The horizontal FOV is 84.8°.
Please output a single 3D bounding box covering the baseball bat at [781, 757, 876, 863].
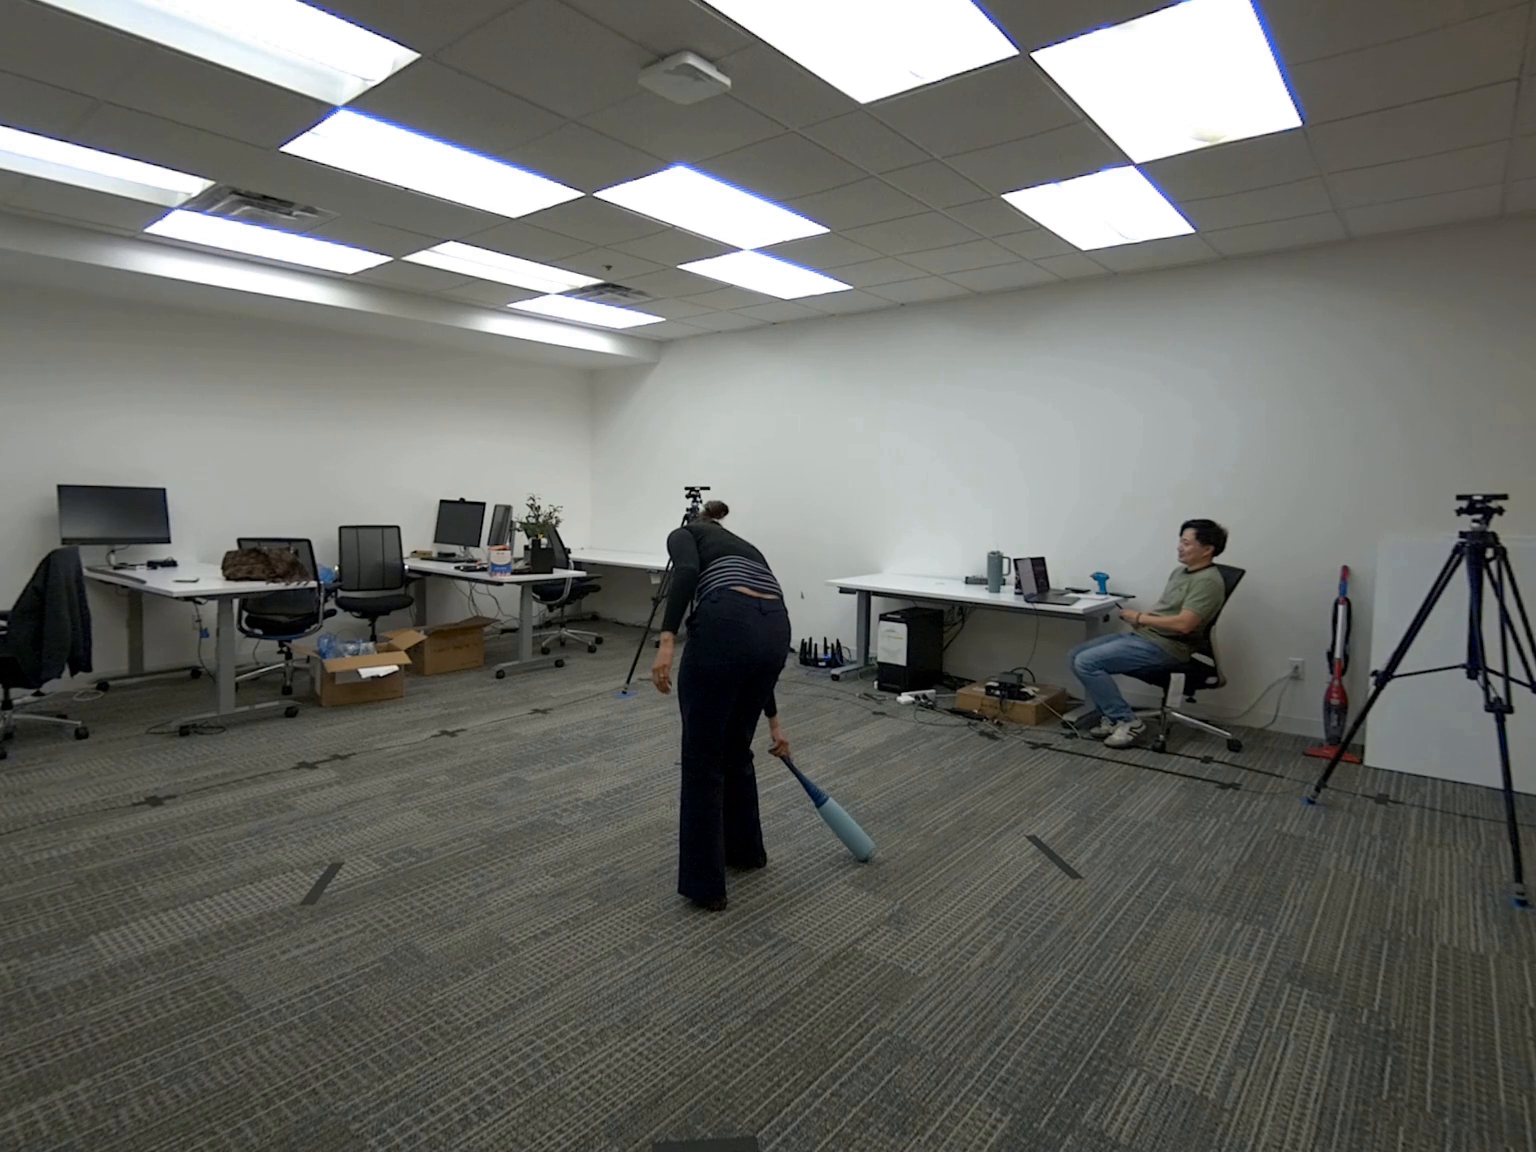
[{"bbox_3d":[0.189,0.845,3.238,0.089,0.548,0.088,-42,-6,-6],"label":"baseball bat"}]
